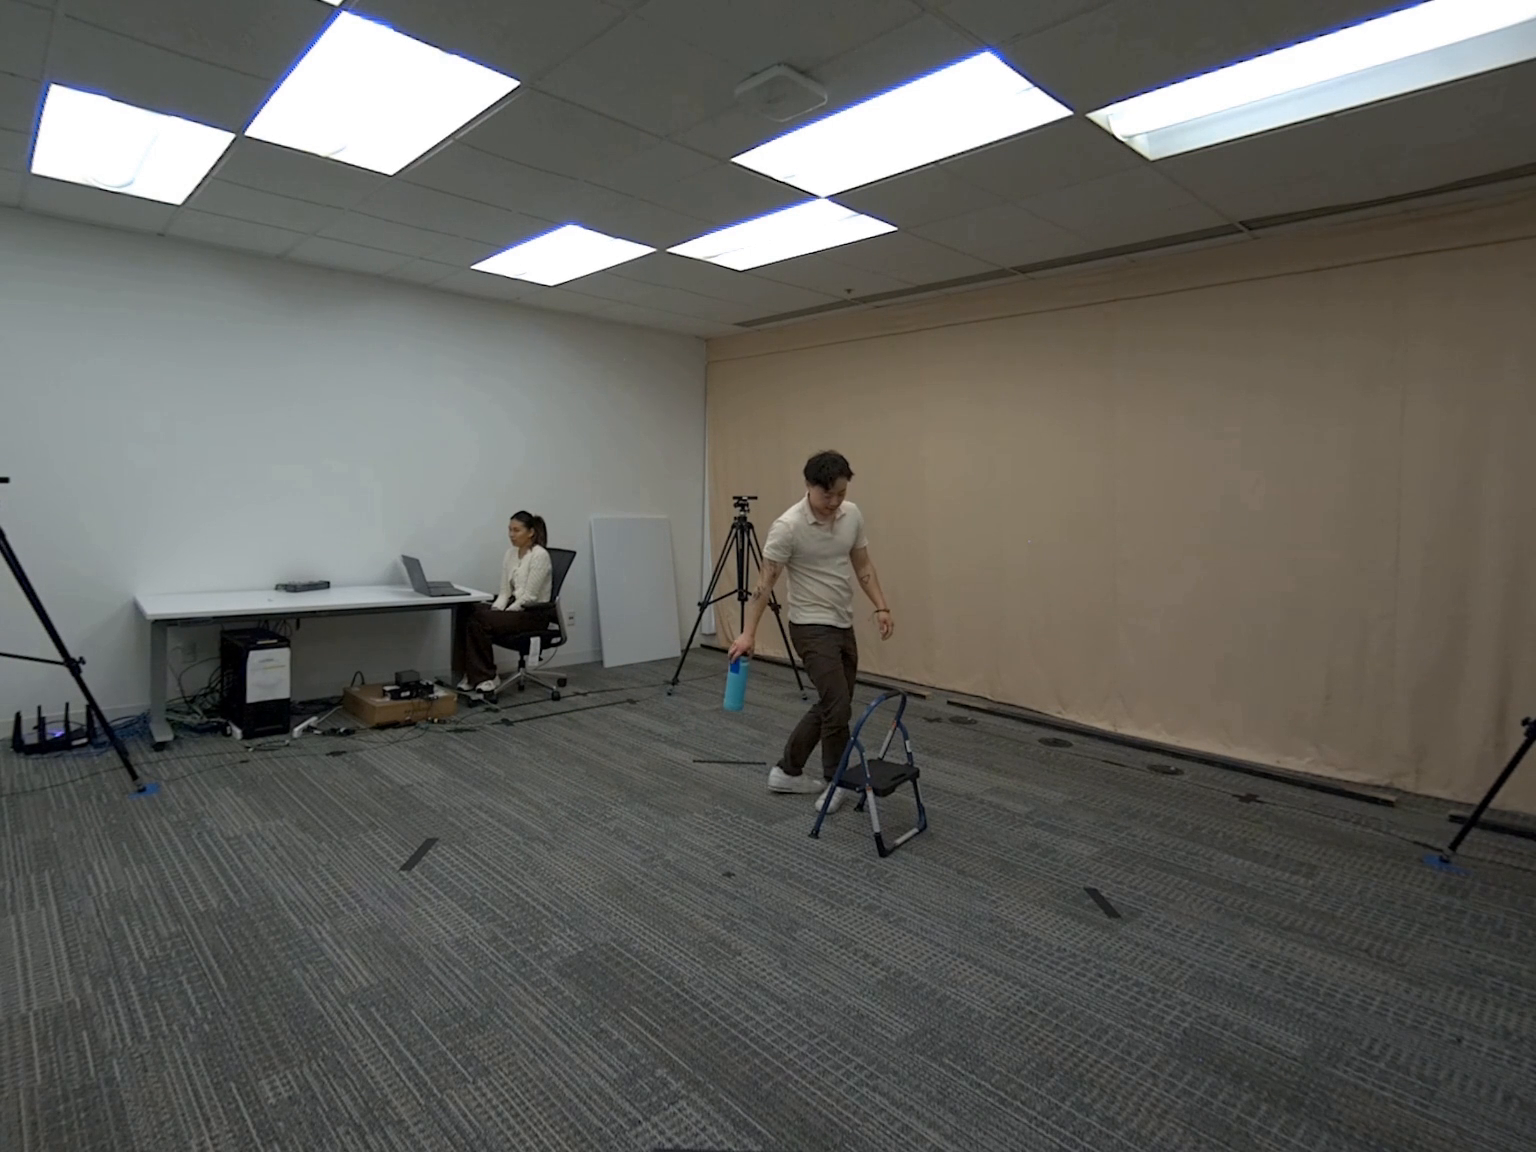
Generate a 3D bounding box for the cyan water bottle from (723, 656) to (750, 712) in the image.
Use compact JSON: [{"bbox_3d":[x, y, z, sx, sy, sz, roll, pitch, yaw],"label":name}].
[{"bbox_3d":[-0.131,0.455,3.781,0.092,0.281,0.093,5,10,-2],"label":"cyan water bottle"}]
